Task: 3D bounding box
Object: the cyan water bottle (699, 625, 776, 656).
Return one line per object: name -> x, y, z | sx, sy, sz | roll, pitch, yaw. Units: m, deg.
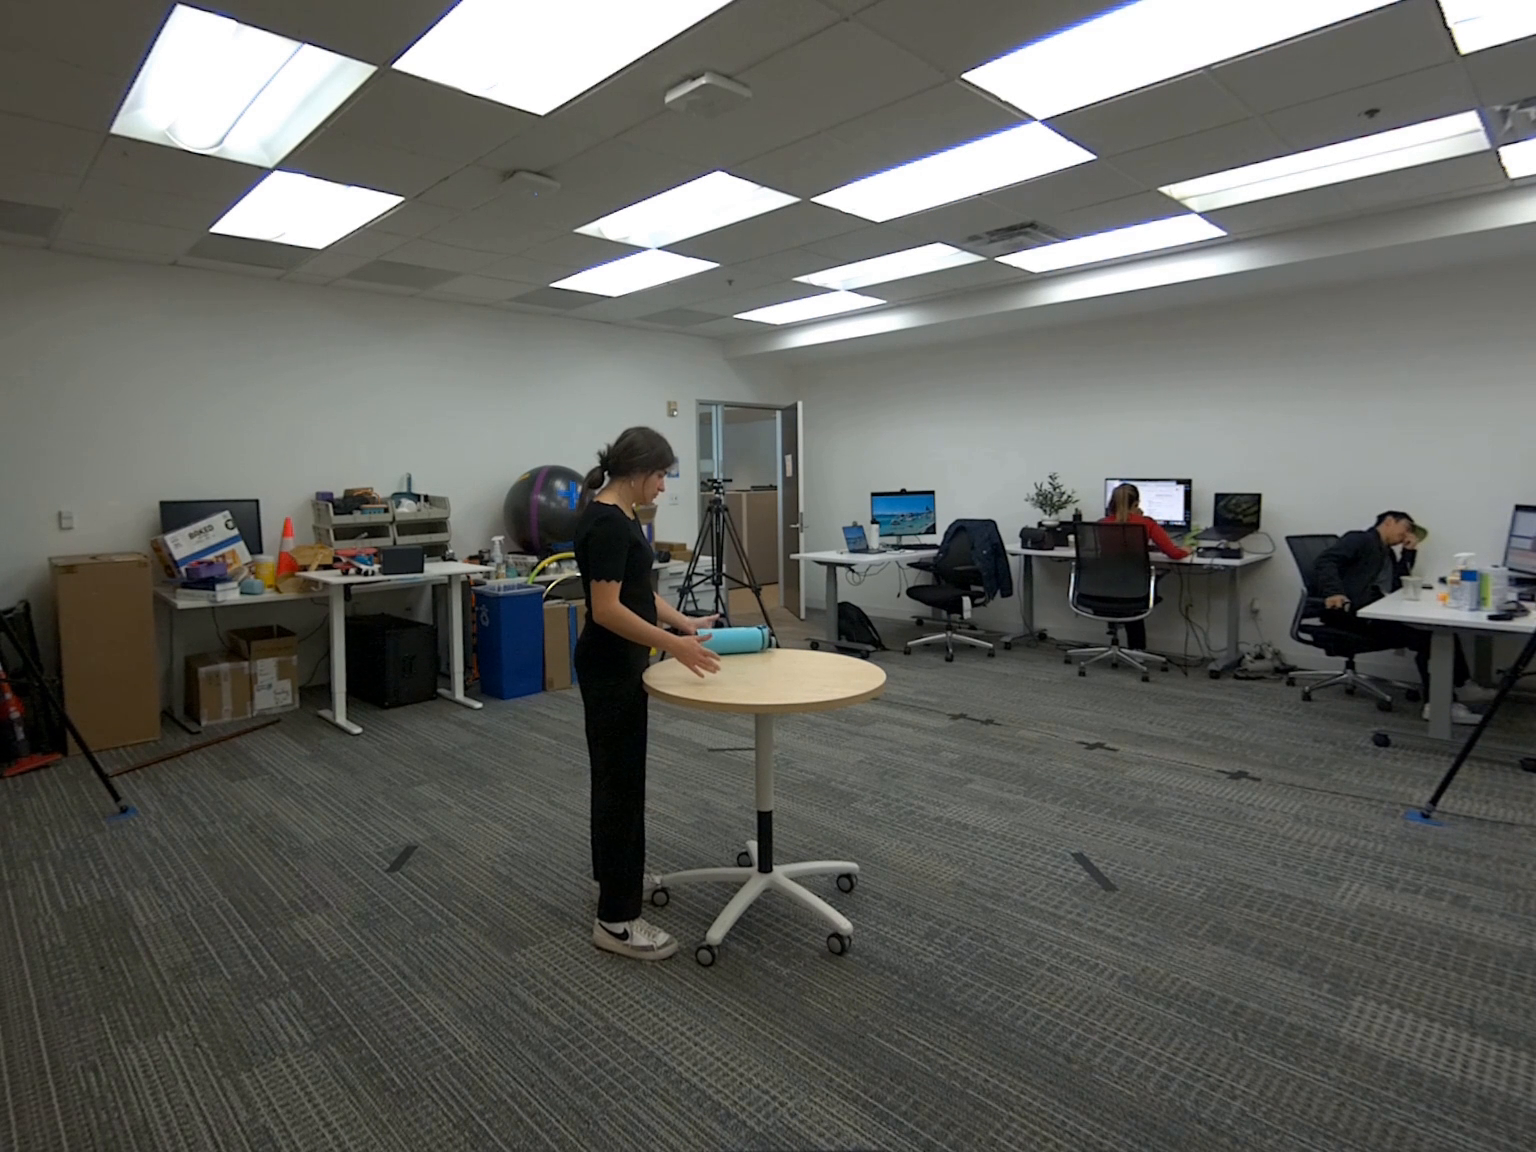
cyan water bottle -> -0.113, 0.228, 2.994 | 0.279, 0.092, 0.094 | -1, 5, -16
